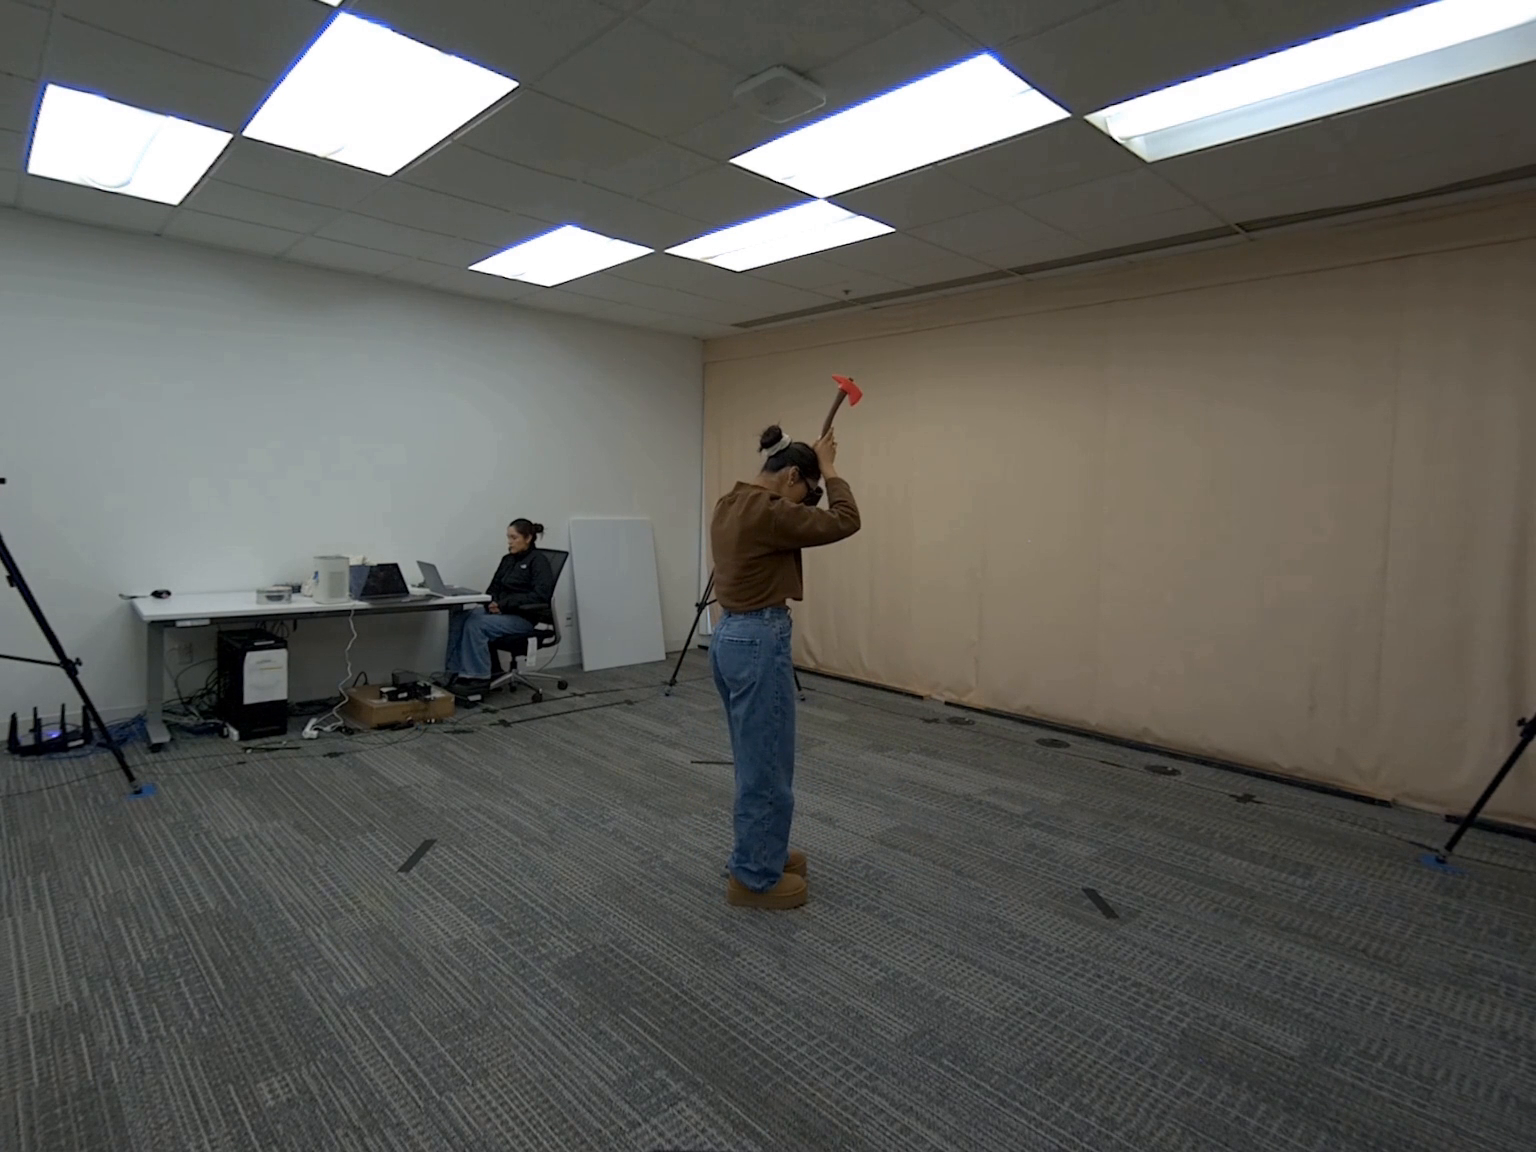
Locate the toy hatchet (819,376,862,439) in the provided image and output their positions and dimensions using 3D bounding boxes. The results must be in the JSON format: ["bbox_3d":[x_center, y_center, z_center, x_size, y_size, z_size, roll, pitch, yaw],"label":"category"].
[{"bbox_3d":[0.256,-0.564,2.946,0.128,0.270,0.030,11,1,-23],"label":"toy hatchet"}]
